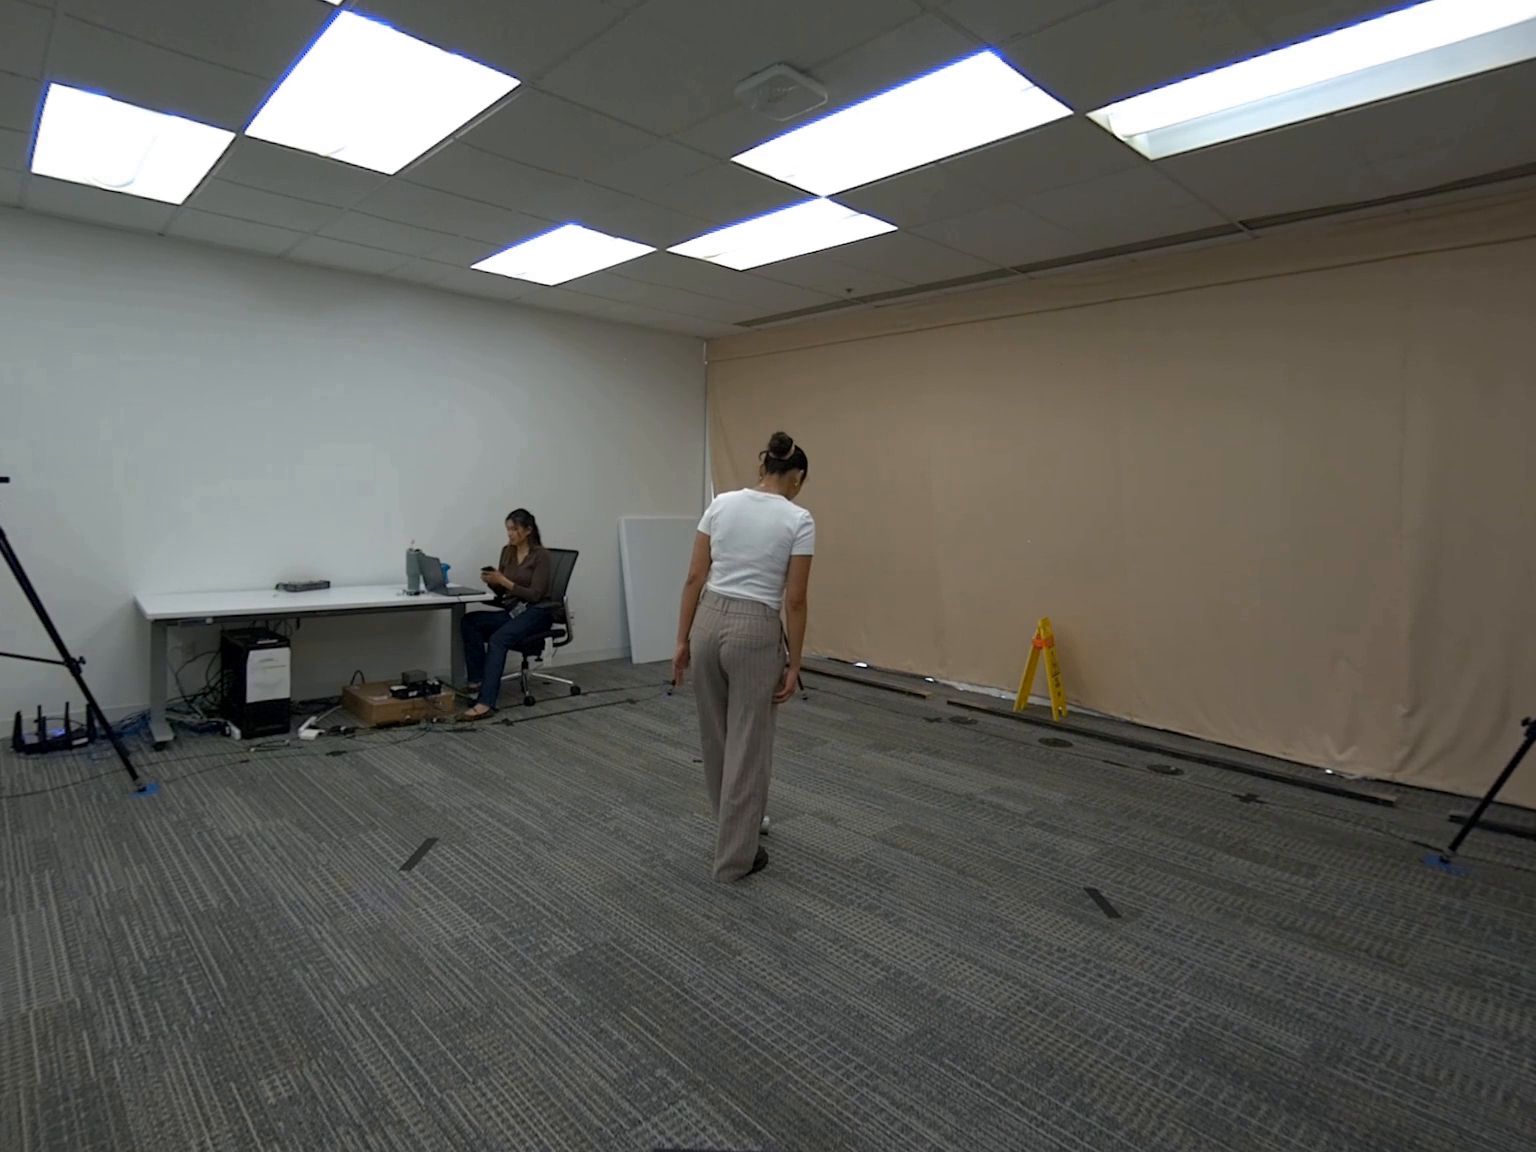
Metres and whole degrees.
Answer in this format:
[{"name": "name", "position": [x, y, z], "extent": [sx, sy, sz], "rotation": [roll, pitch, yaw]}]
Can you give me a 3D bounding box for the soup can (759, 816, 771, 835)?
[{"name": "soup can", "position": [-0.062, 1.041, 3.506], "extent": [0.121, 0.067, 0.067], "rotation": [3, 4, -4]}]
